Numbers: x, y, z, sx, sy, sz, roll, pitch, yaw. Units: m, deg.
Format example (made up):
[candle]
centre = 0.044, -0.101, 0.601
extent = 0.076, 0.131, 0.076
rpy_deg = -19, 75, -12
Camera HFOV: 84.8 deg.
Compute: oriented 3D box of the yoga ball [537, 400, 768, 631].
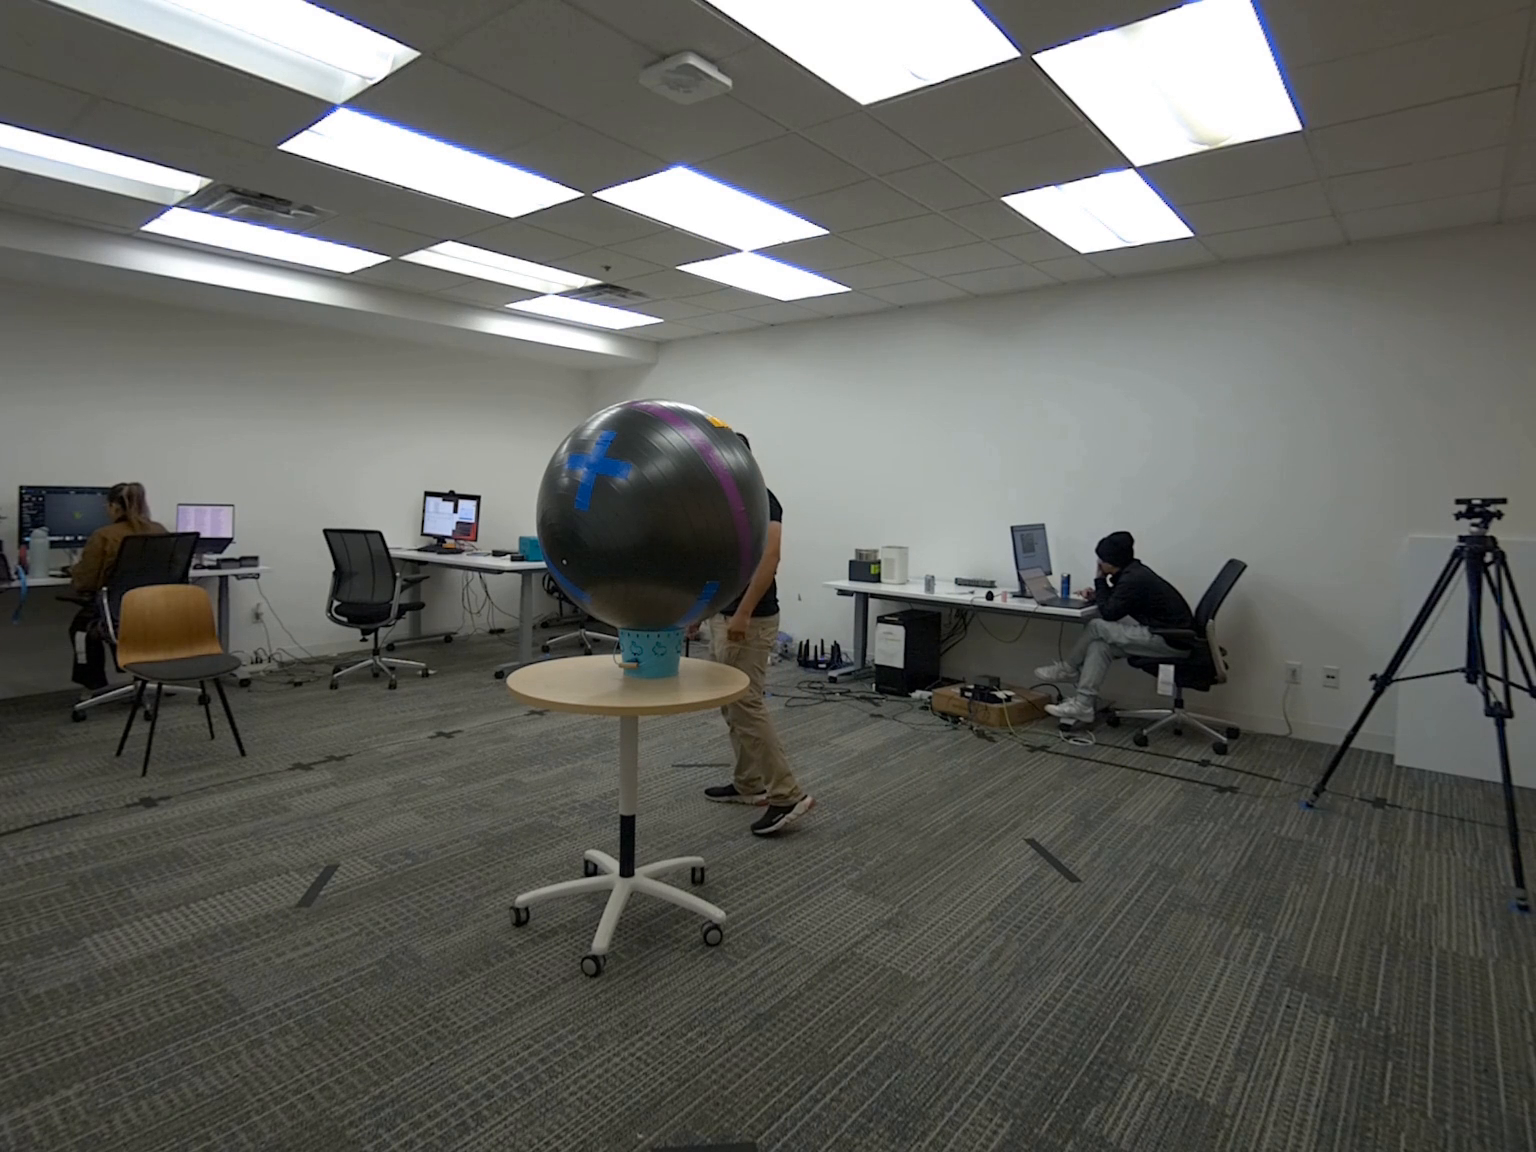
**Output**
[yoga ball]
centre = -0.384, -0.193, 2.778
extent = 0.757, 0.755, 0.762
rpy_deg = 1, 4, -2
